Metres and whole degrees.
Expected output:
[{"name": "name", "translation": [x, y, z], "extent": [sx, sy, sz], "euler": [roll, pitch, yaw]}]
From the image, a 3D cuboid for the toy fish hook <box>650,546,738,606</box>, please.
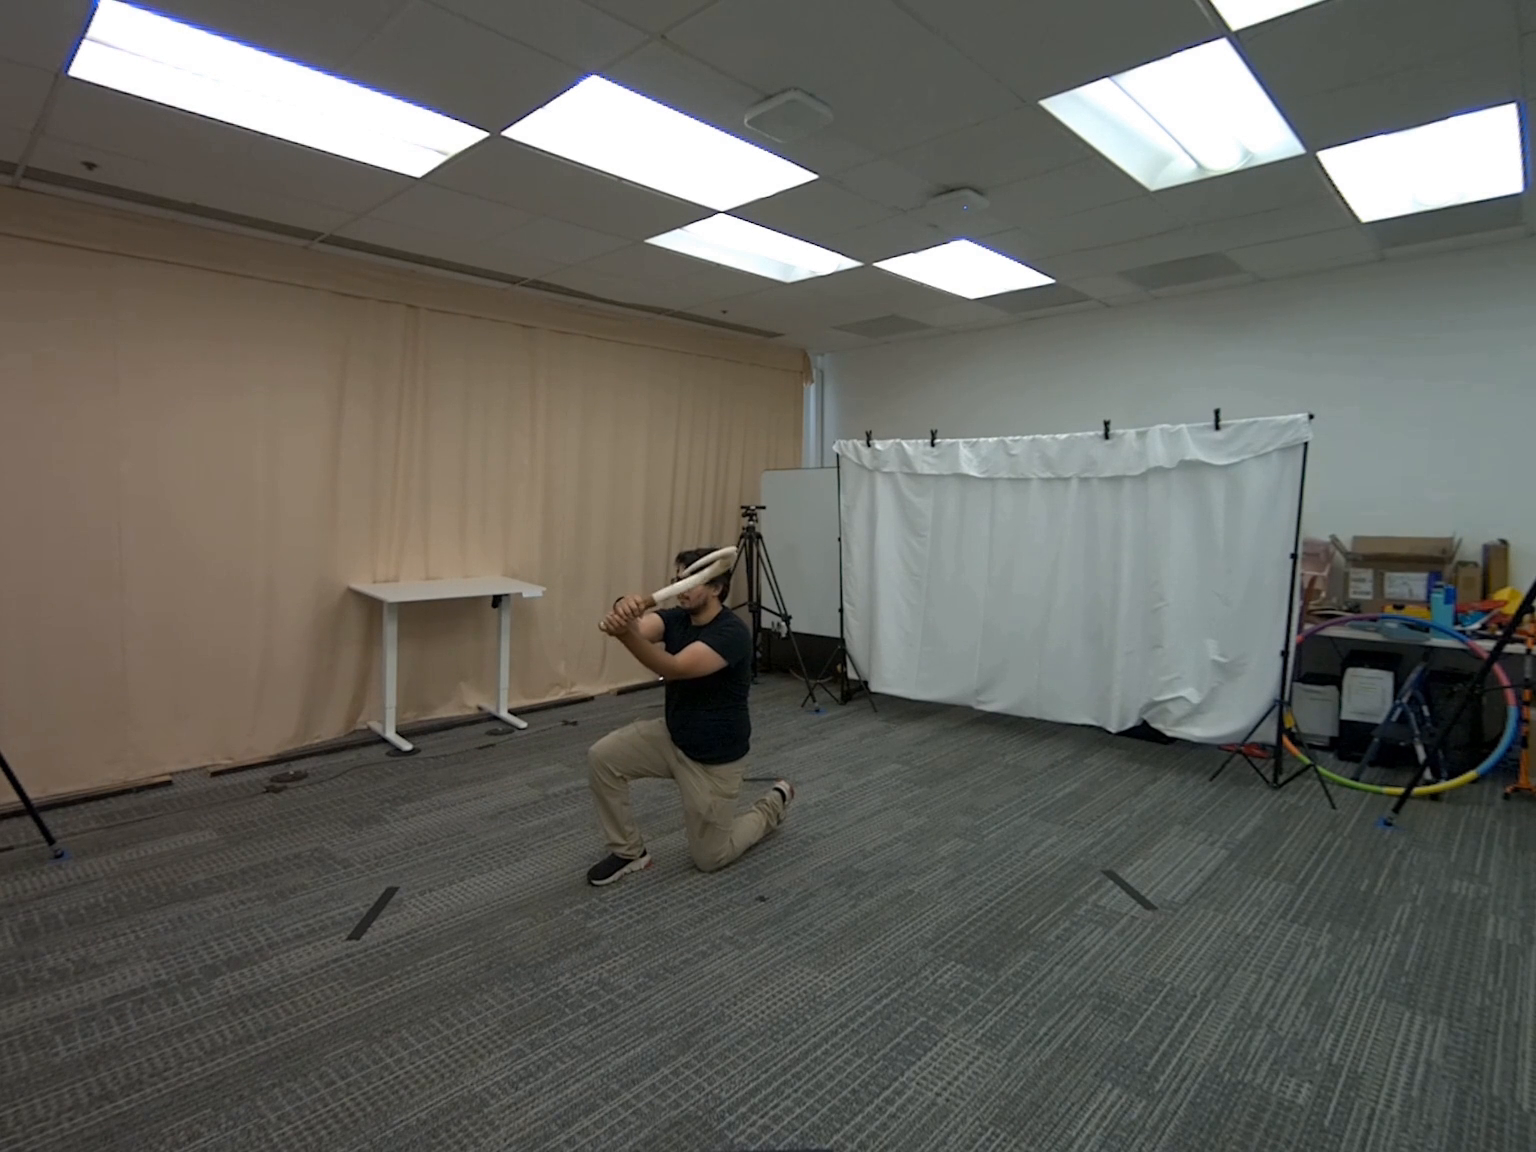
[{"name": "toy fish hook", "translation": [-0.338, 0.052, 2.696], "extent": [0.504, 0.049, 0.221], "euler": [-31, -15, -7]}]
